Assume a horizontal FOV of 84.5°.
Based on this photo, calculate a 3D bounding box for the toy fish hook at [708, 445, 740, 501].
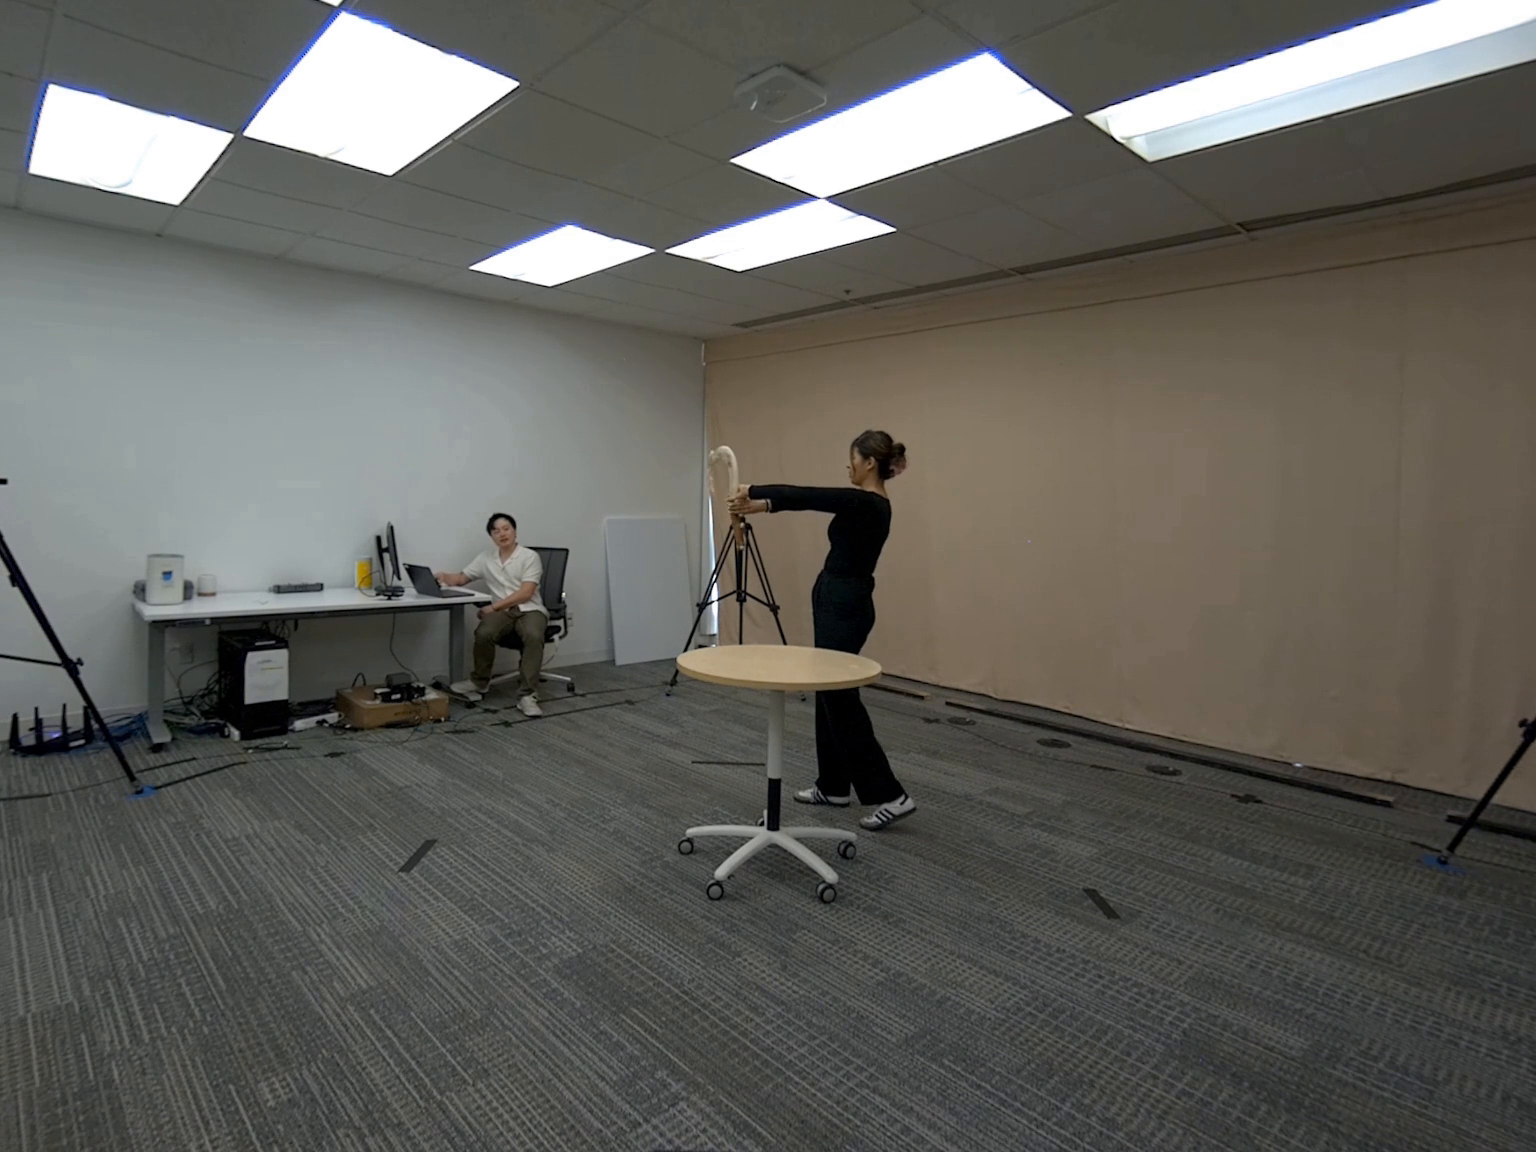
[{"bbox_3d":[-0.198,-0.350,3.935,0.047,0.511,0.228,-1,-12,-37],"label":"toy fish hook"}]
